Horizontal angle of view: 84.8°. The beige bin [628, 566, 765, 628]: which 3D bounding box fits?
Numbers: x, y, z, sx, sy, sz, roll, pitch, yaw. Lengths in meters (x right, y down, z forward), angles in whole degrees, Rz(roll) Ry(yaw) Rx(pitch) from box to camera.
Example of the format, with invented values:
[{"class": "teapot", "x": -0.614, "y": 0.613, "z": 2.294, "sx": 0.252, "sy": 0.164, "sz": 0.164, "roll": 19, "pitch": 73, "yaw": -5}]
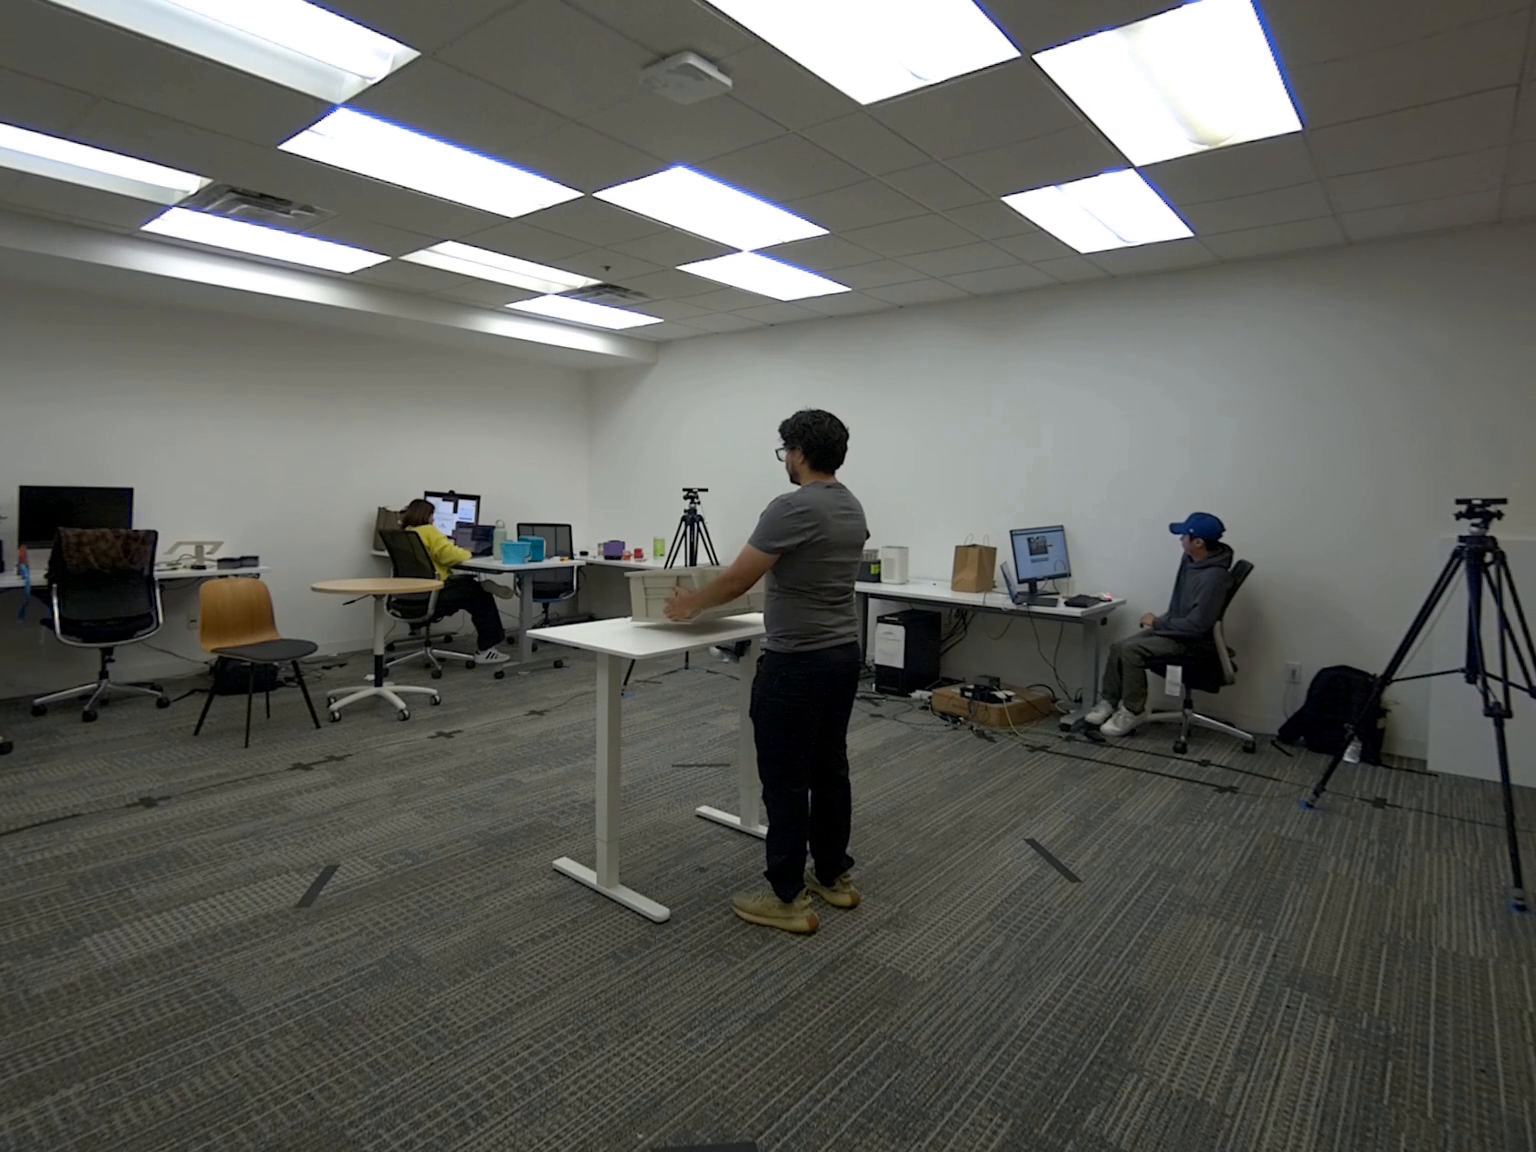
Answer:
[{"class": "beige bin", "x": -0.262, "y": 0.061, "z": 3.155, "sx": 0.388, "sy": 0.189, "sz": 0.410, "roll": -3, "pitch": 2, "yaw": 41}]
